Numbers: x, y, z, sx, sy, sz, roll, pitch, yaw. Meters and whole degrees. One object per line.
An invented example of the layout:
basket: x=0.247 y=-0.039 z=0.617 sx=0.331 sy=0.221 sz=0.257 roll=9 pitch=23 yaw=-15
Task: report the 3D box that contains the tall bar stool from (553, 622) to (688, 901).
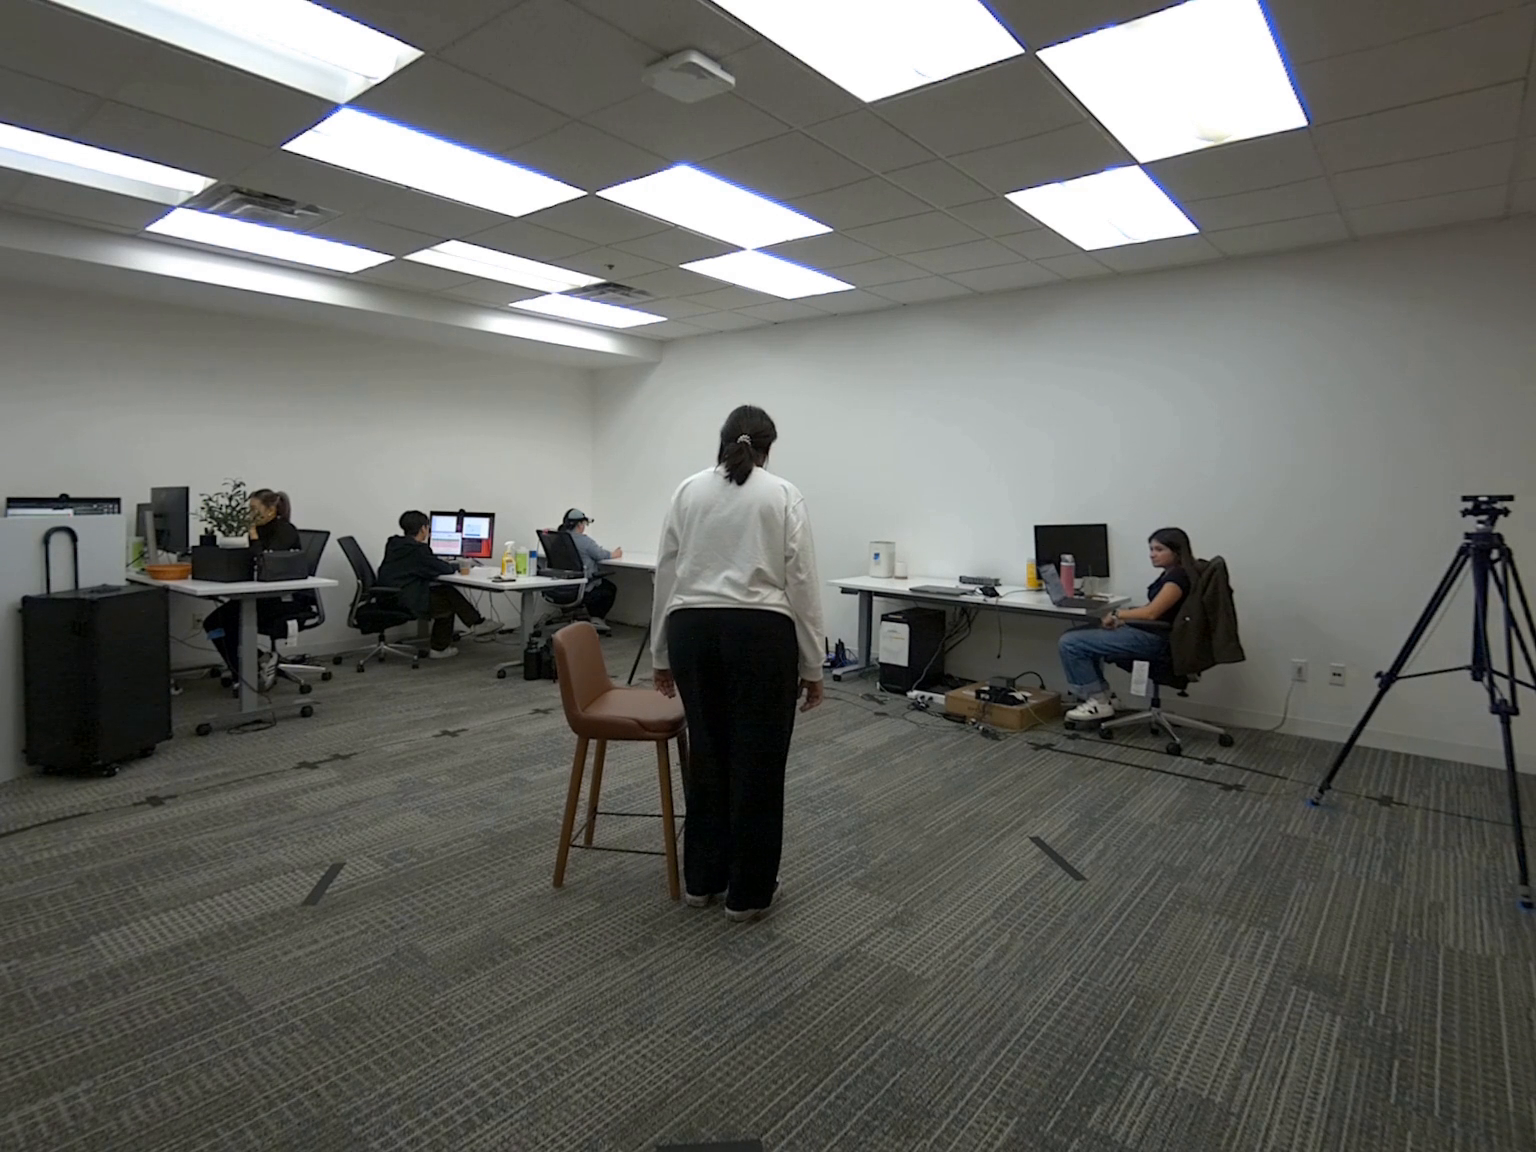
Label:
tall bar stool: x=-0.503 y=0.627 z=3.069 sx=0.472 sy=0.888 sz=0.453 roll=-1 pitch=3 yaw=8
